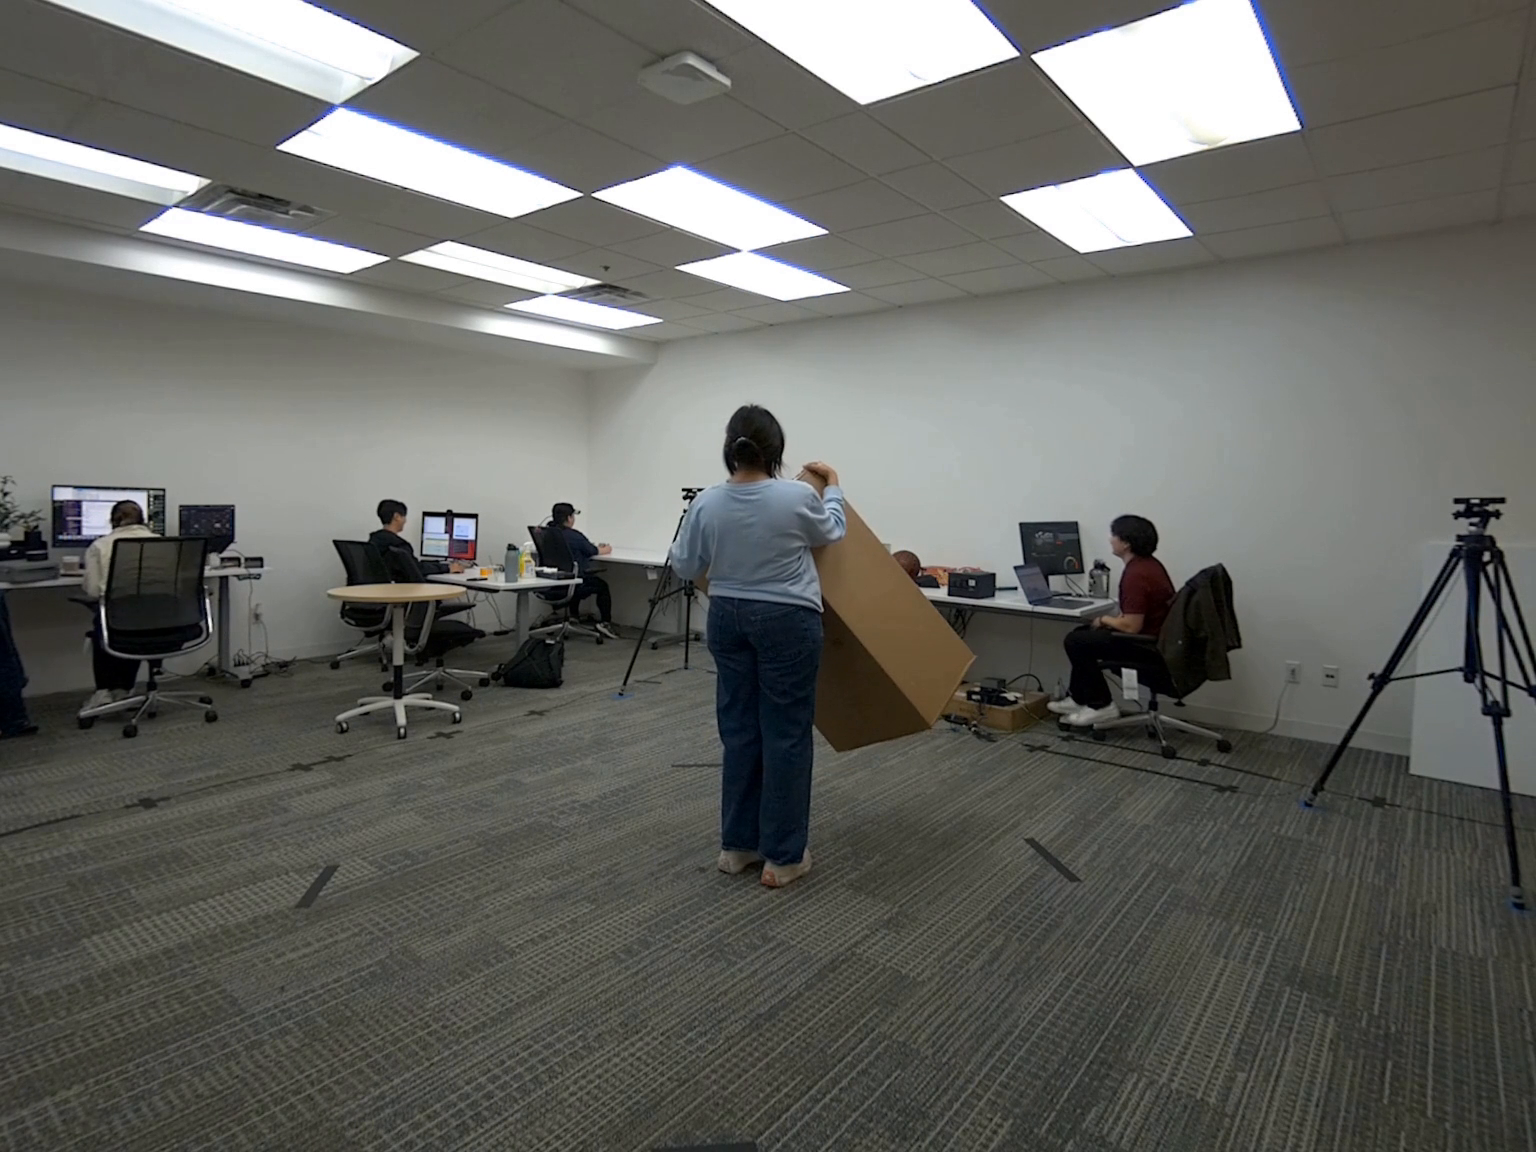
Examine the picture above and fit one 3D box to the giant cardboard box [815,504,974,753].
[{"bbox_3d":[0.232,0.154,3.470,0.445,1.023,0.589,-41,4,-38],"label":"giant cardboard box"}]
